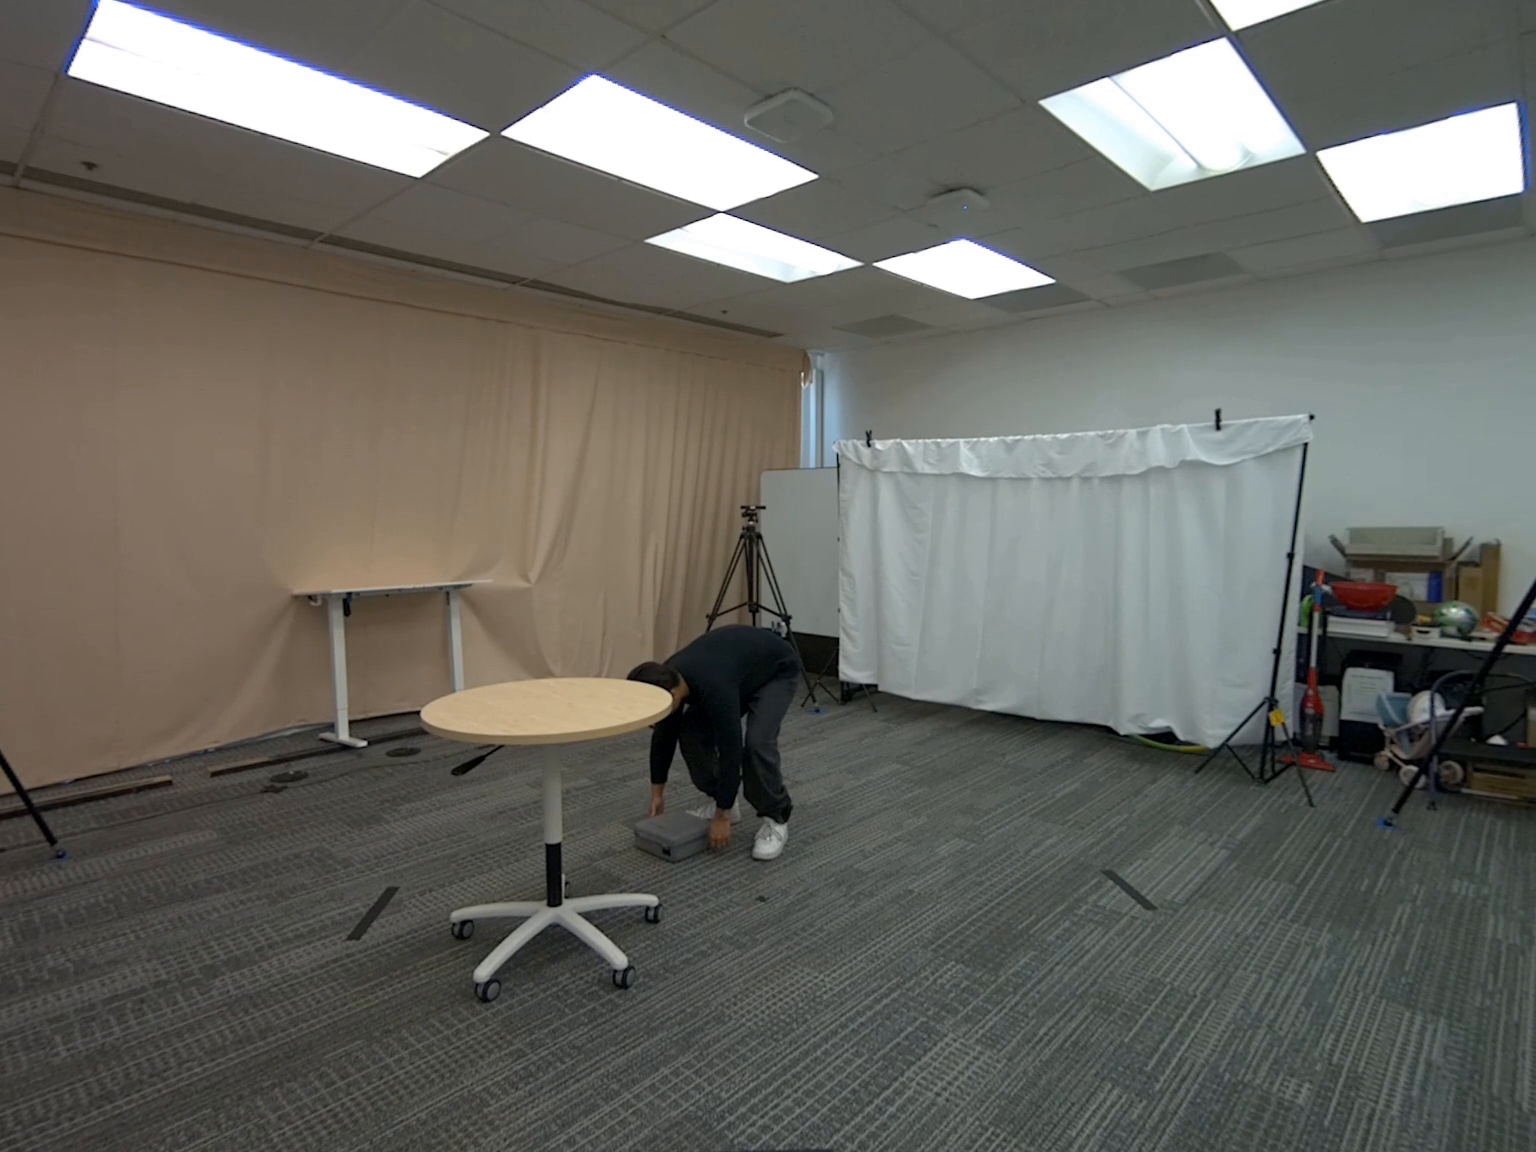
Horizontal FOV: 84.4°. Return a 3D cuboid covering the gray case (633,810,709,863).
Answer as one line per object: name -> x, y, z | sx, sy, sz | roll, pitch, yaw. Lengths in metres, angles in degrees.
gray case -> -0.379, 1.050, 3.450 | 0.265, 0.104, 0.252 | 1, 3, 42
